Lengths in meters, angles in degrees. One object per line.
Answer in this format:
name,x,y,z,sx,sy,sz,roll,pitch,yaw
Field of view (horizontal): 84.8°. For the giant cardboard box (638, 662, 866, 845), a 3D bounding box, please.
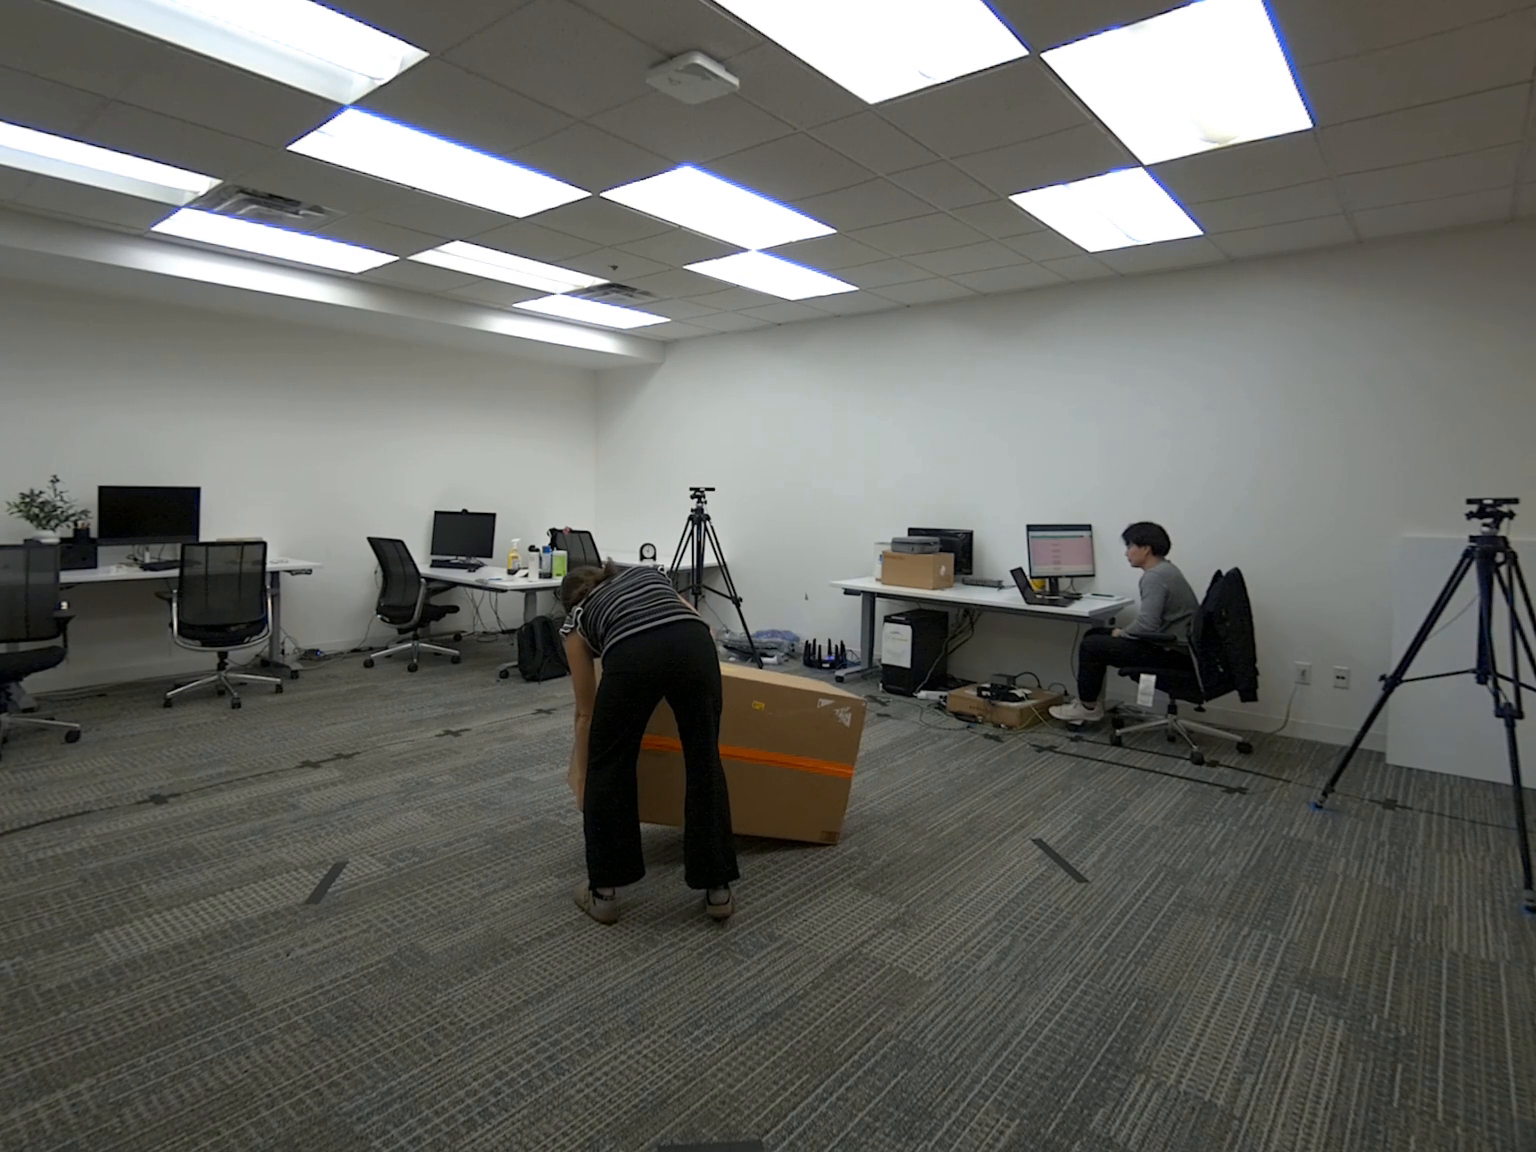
giant cardboard box,-0.207,0.647,3.366,1.000,0.578,0.436,12,-2,-22
